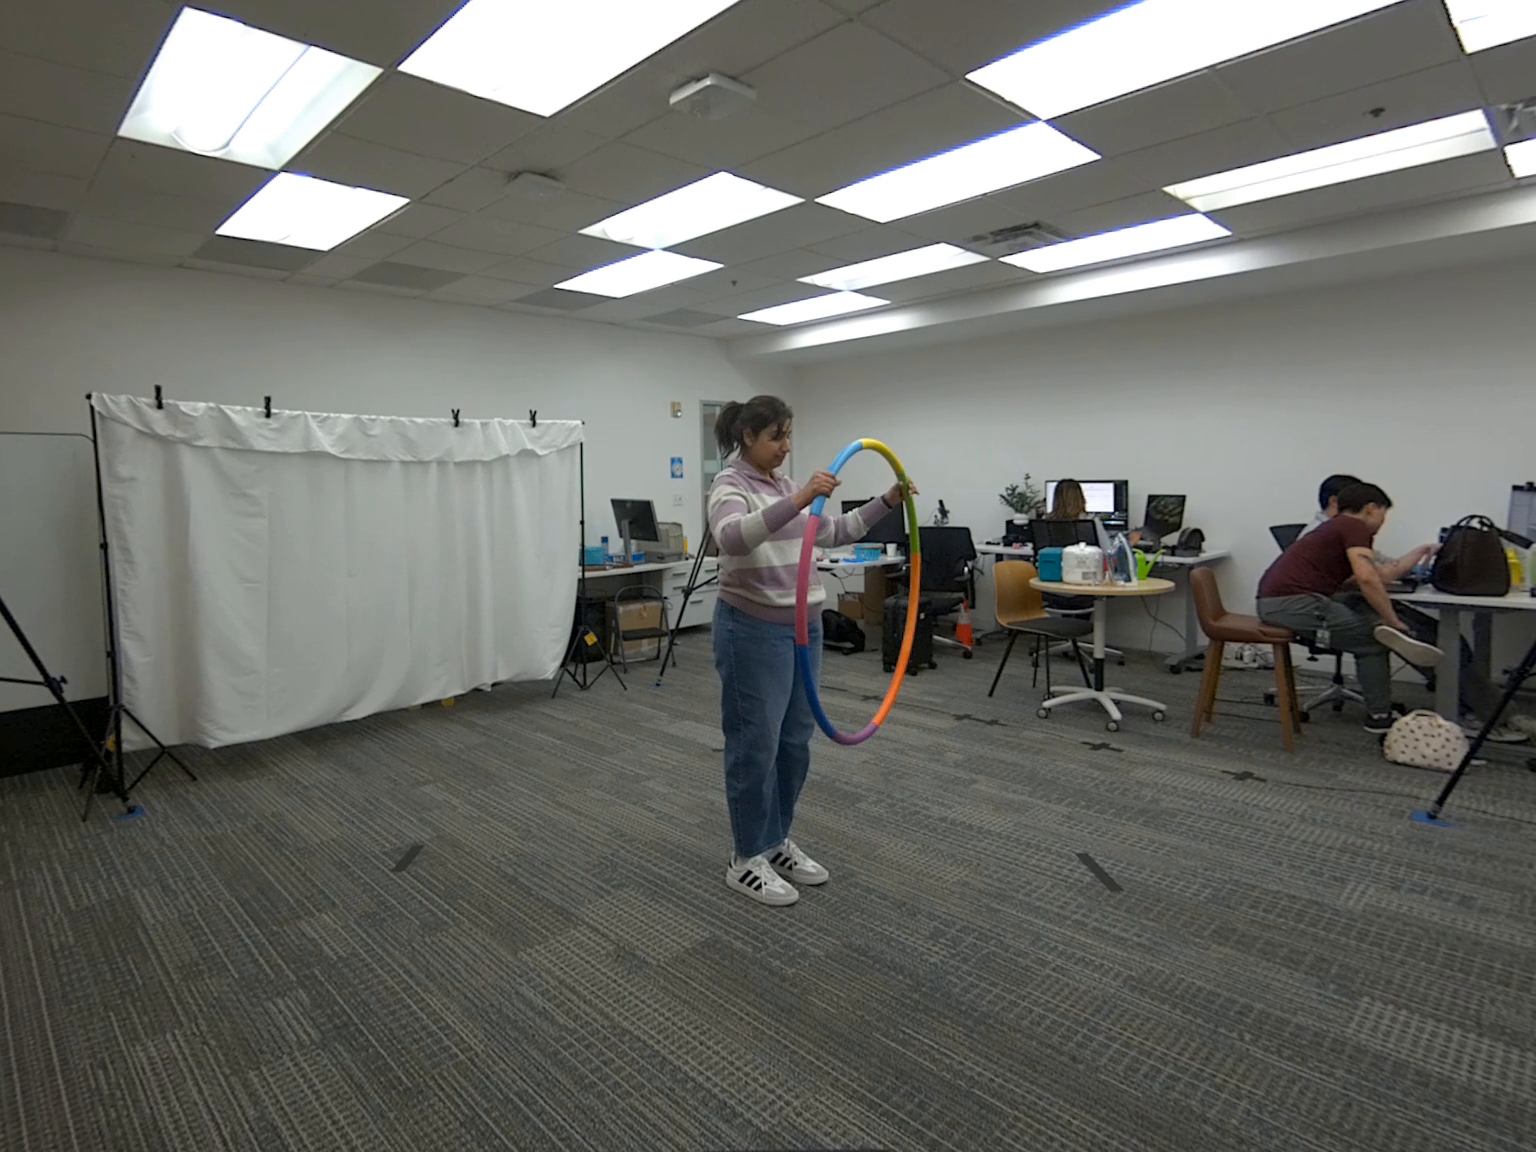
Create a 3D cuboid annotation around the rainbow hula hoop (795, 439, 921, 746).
[{"bbox_3d":[0.322,0.047,2.783,0.036,0.974,0.957,3,6,28],"label":"rainbow hula hoop"}]
